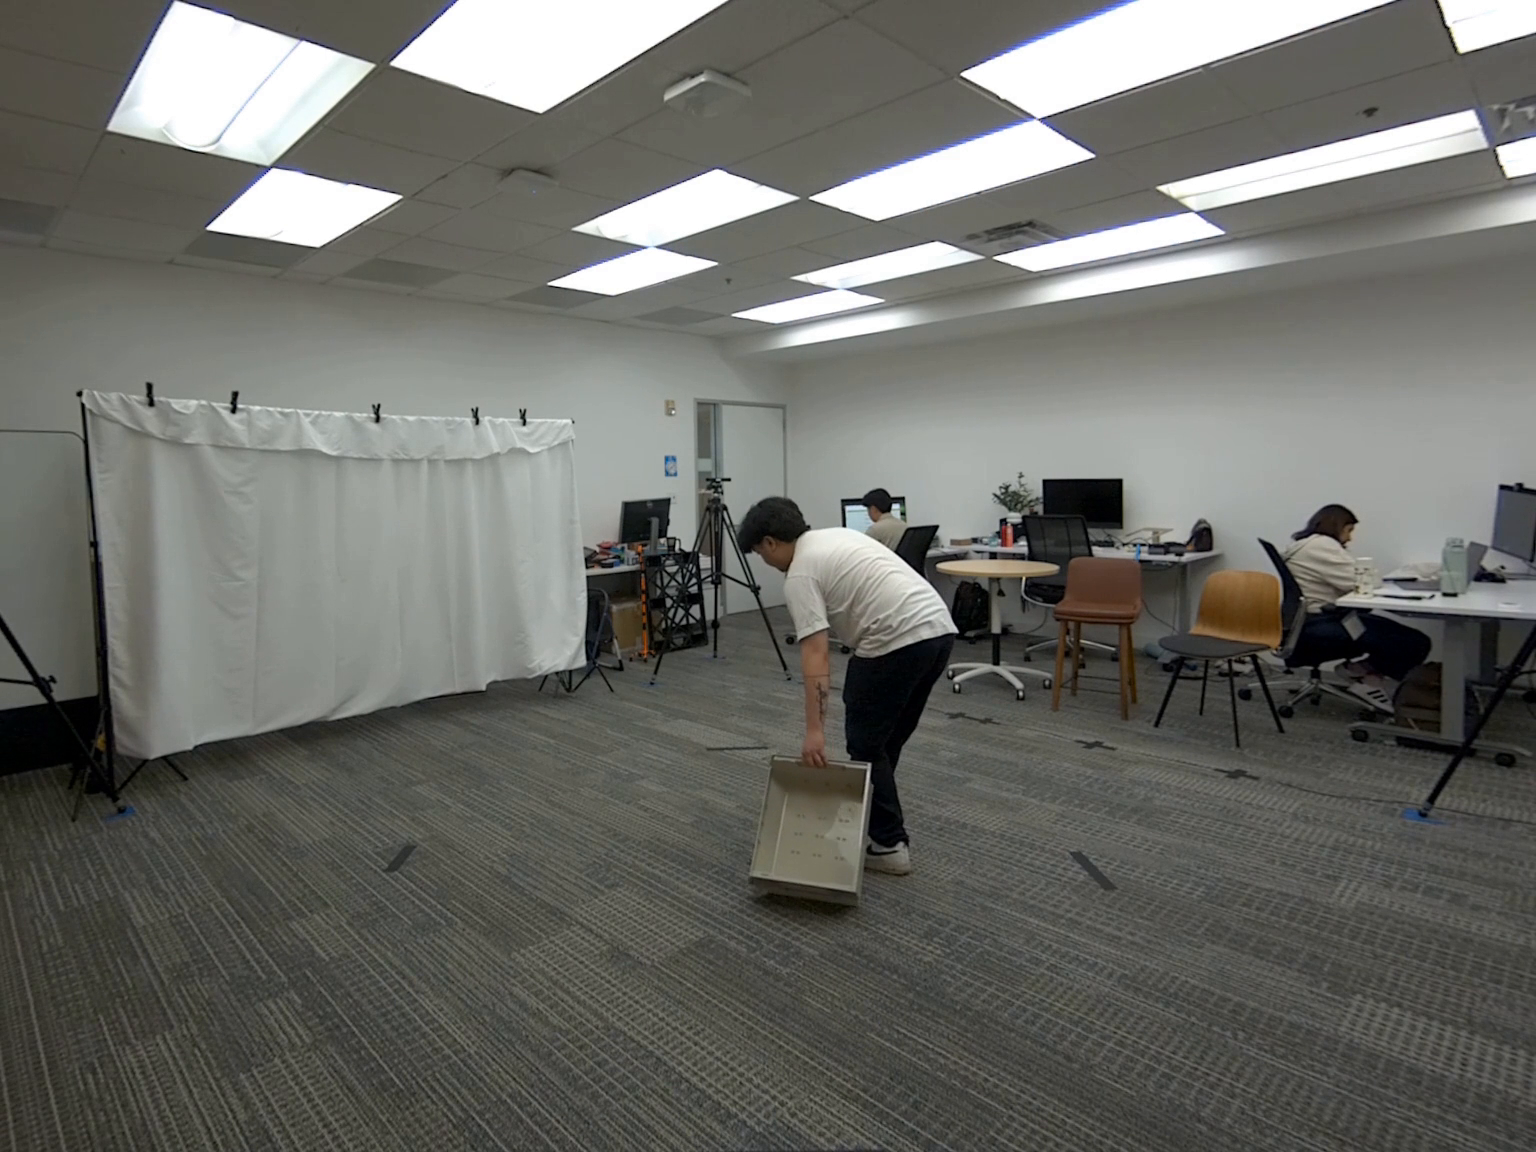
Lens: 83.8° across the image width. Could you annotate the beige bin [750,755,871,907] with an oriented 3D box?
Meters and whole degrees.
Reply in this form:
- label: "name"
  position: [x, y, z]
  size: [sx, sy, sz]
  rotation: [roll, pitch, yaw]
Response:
- label: "beige bin"
  position: [0.152, 0.852, 2.881]
  size: [0.384, 0.430, 0.182]
  rotation: [1, -38, 18]
